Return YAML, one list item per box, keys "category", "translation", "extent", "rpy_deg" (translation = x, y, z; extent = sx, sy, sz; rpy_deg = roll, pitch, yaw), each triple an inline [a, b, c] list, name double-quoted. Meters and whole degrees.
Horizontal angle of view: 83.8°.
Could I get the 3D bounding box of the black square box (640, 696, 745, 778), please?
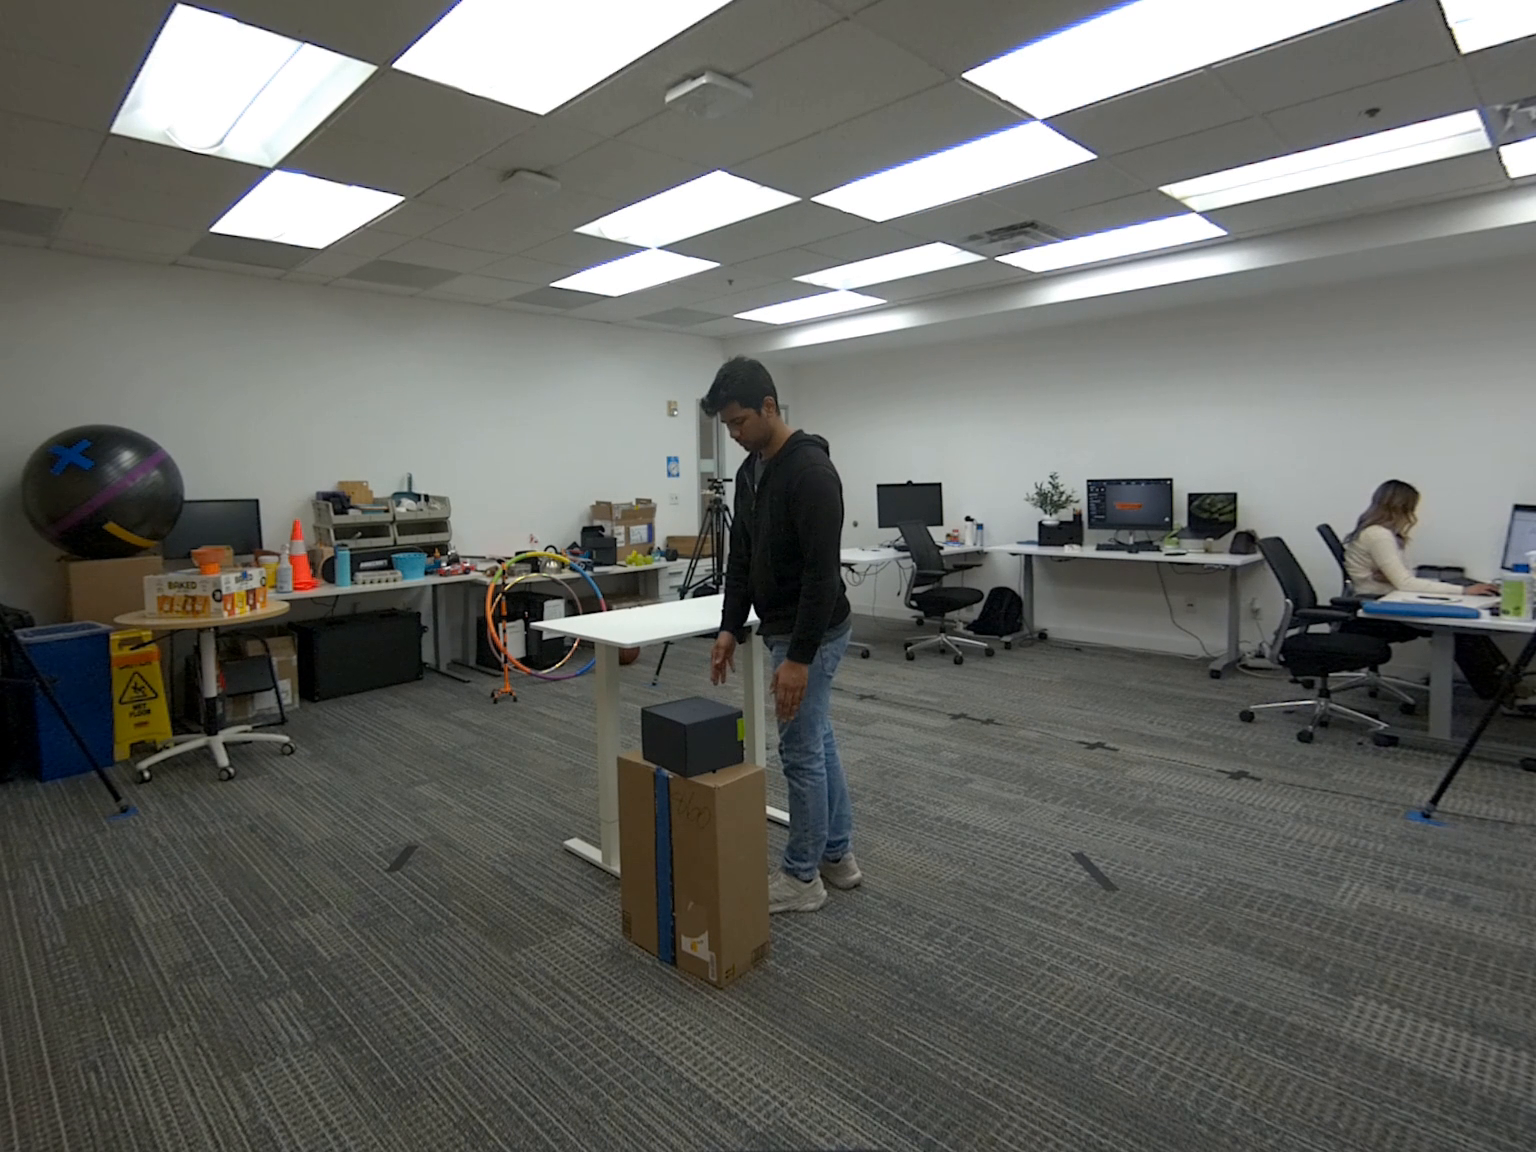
- category: "black square box"
  translation: [-0.218, 0.469, 2.532]
  extent: [0.211, 0.155, 0.235]
  rpy_deg: [-5, 7, -40]
